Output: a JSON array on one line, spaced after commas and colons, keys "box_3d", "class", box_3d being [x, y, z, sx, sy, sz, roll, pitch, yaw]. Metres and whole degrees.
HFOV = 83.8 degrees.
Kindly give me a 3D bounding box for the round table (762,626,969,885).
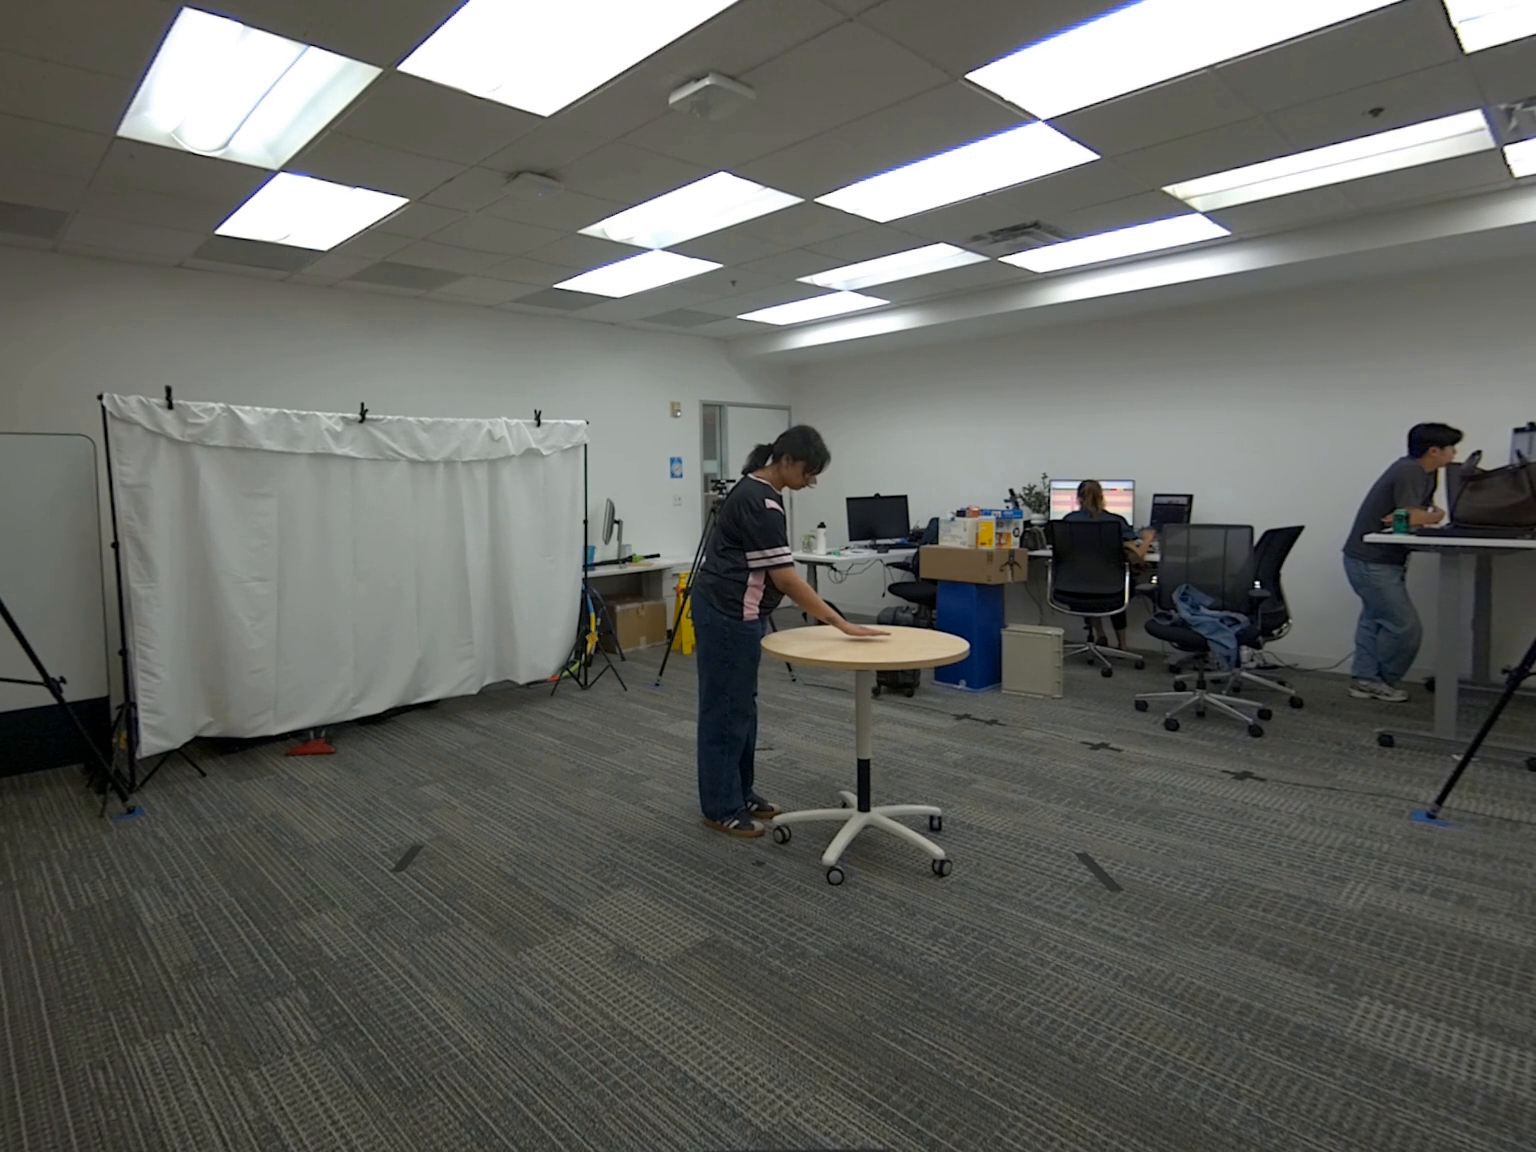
[{"box_3d": [0.369, 0.635, 3.222, 0.784, 0.783, 0.789, -1, 5, -2], "class": "round table"}]
